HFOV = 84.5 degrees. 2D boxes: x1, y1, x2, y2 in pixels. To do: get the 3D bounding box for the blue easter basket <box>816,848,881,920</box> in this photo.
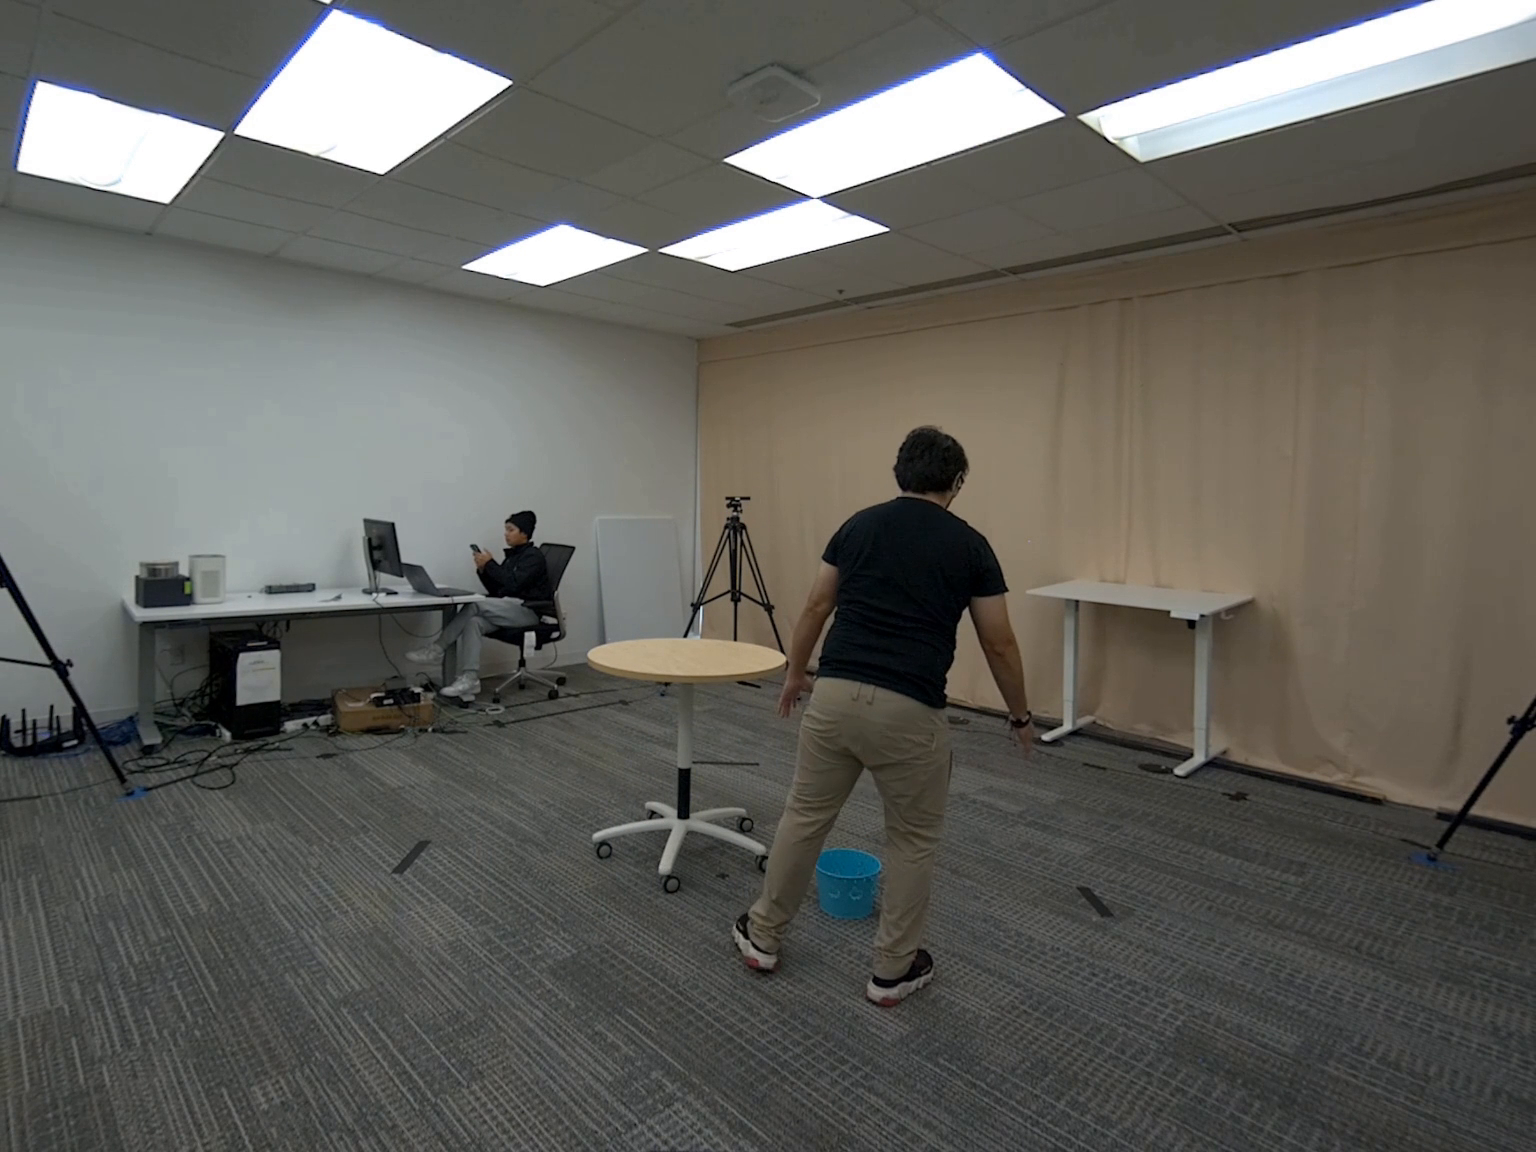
[{"bbox_3d":[0.269,1.056,2.889,0.243,0.155,0.244,1,5,-1],"label":"blue easter basket"}]
